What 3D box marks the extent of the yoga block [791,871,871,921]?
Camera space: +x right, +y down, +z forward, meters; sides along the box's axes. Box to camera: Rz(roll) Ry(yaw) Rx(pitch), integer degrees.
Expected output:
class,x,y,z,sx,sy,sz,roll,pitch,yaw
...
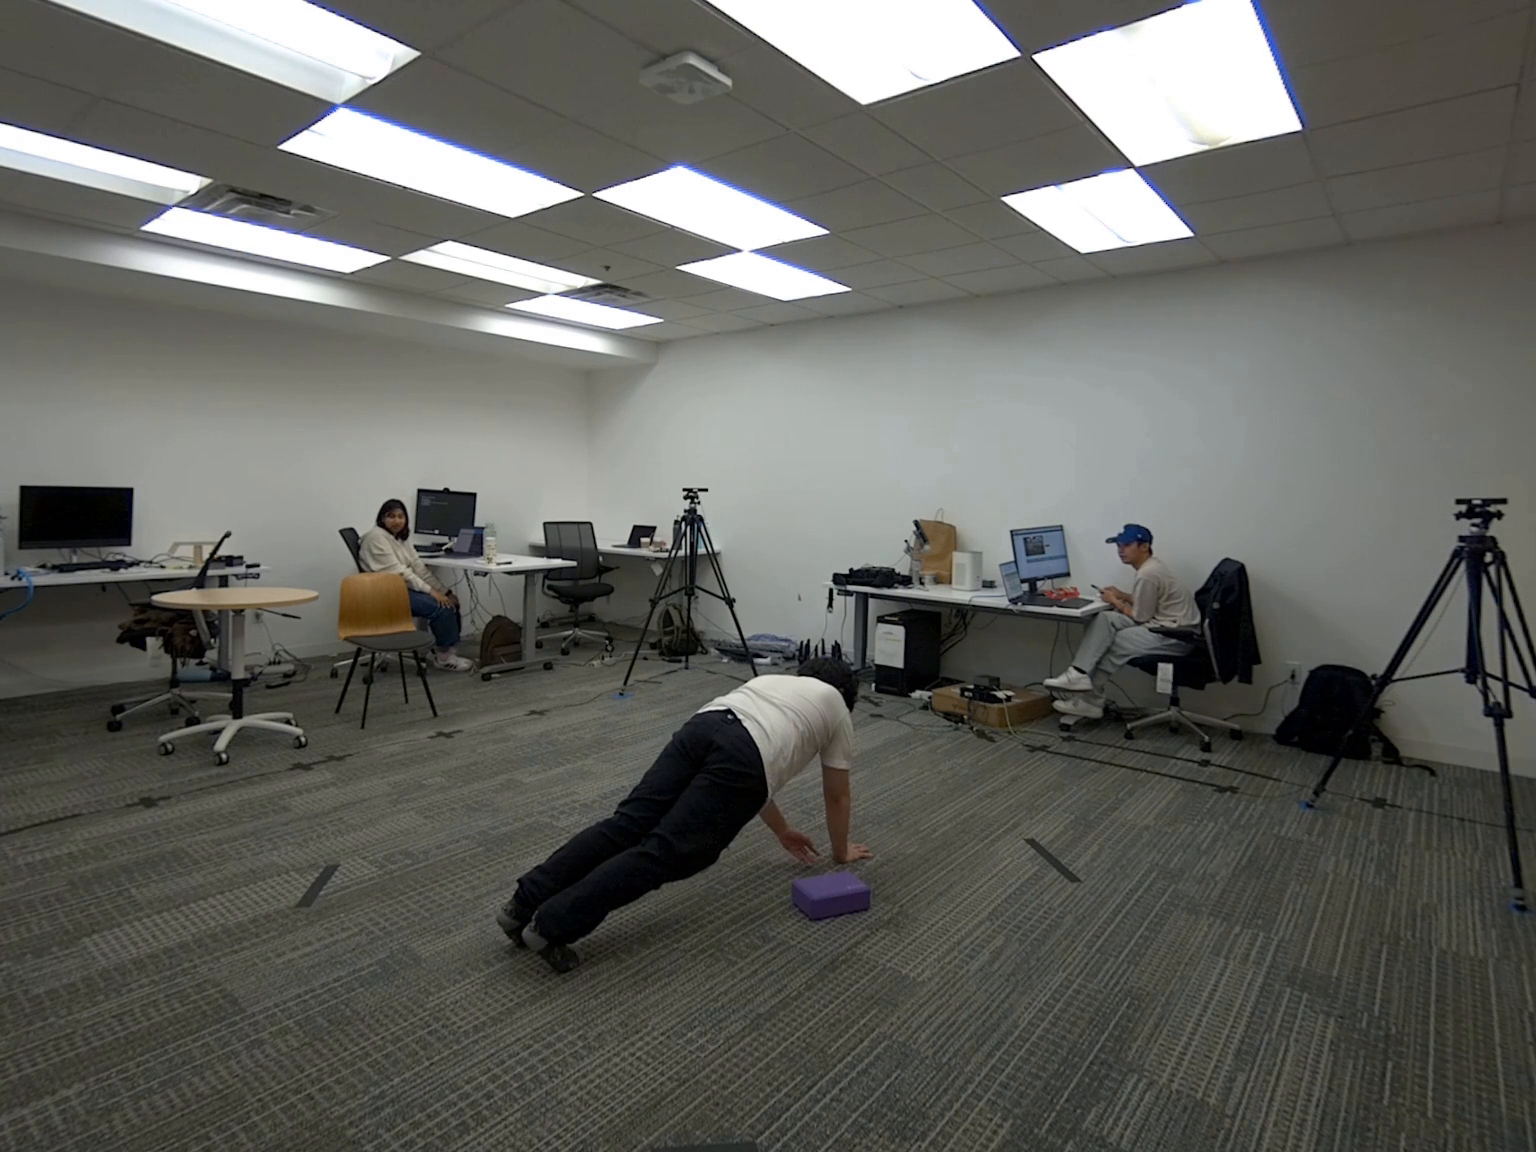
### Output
class,x,y,z,sx,sy,sz,roll,pitch,yaw
yoga block,0.200,1.067,2.851,0.224,0.076,0.153,0,5,-23
